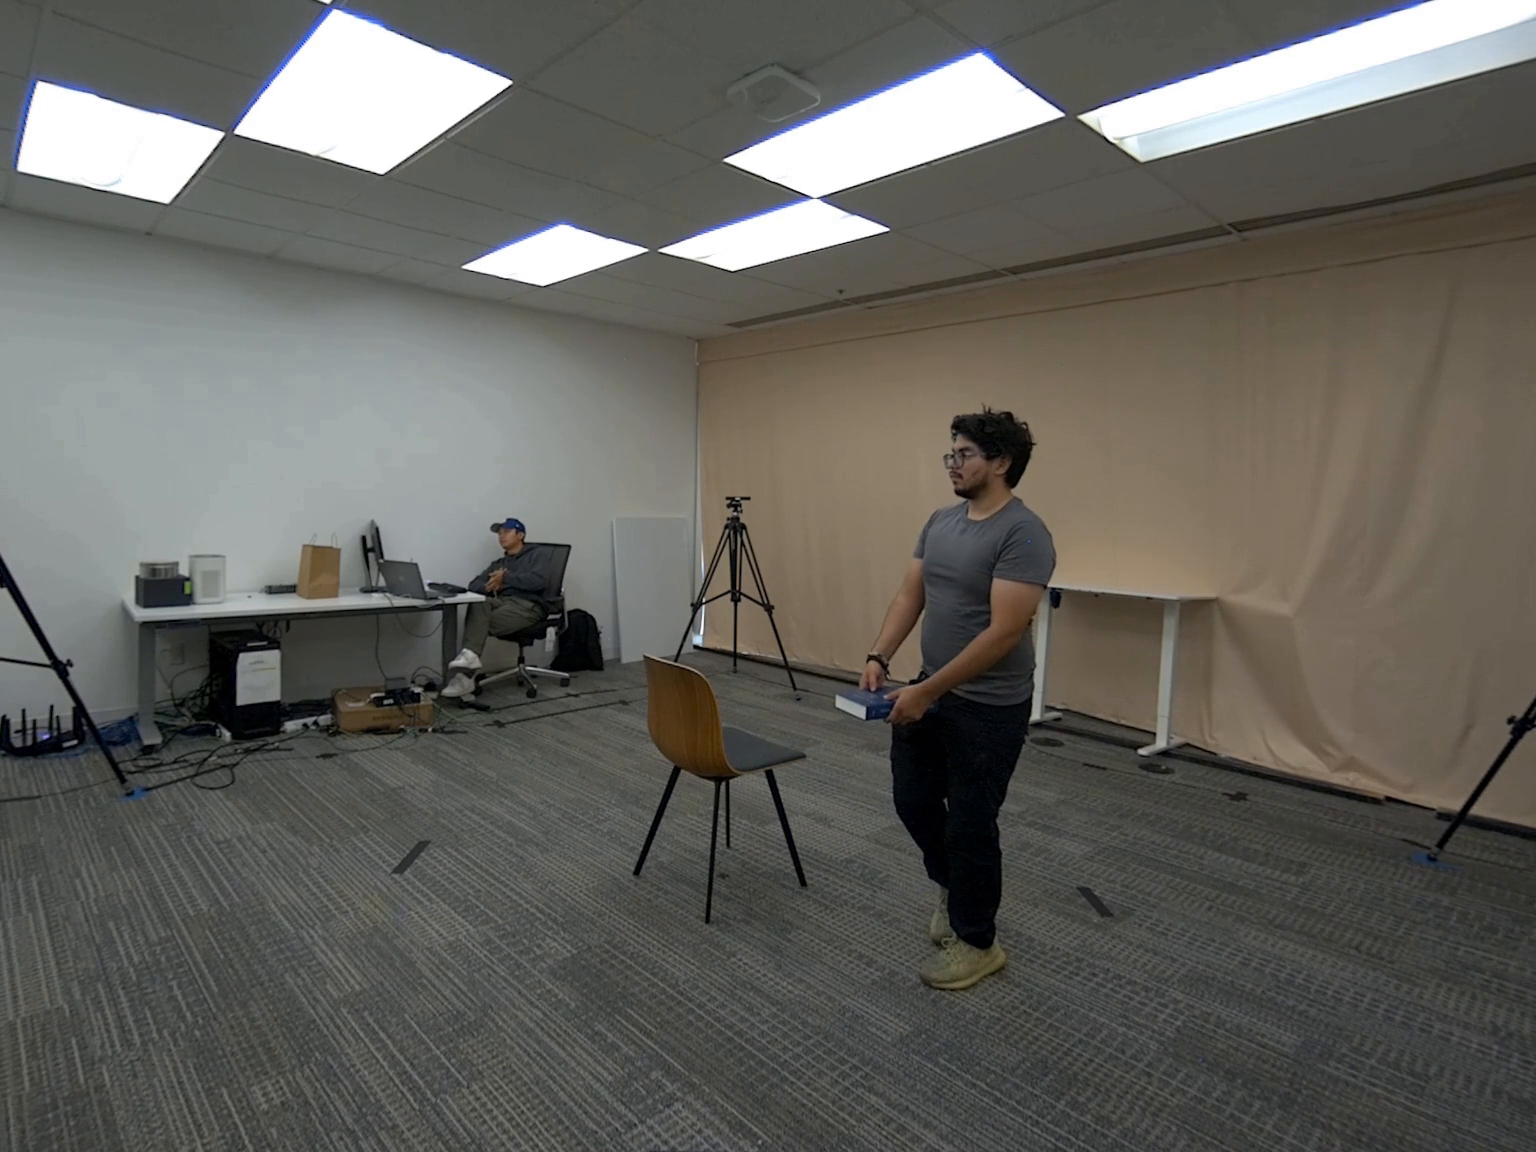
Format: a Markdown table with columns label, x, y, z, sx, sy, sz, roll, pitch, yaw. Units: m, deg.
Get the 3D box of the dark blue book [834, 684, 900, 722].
| label | x | y | z | sx | sy | sz | roll | pitch | yaw |
| --- | --- | --- | --- | --- | --- | --- | --- | --- | --- |
| dark blue book | 0.335 | 0.361 | 2.352 | 0.241 | 0.045 | 0.166 | 0 | 6 | -20 |
